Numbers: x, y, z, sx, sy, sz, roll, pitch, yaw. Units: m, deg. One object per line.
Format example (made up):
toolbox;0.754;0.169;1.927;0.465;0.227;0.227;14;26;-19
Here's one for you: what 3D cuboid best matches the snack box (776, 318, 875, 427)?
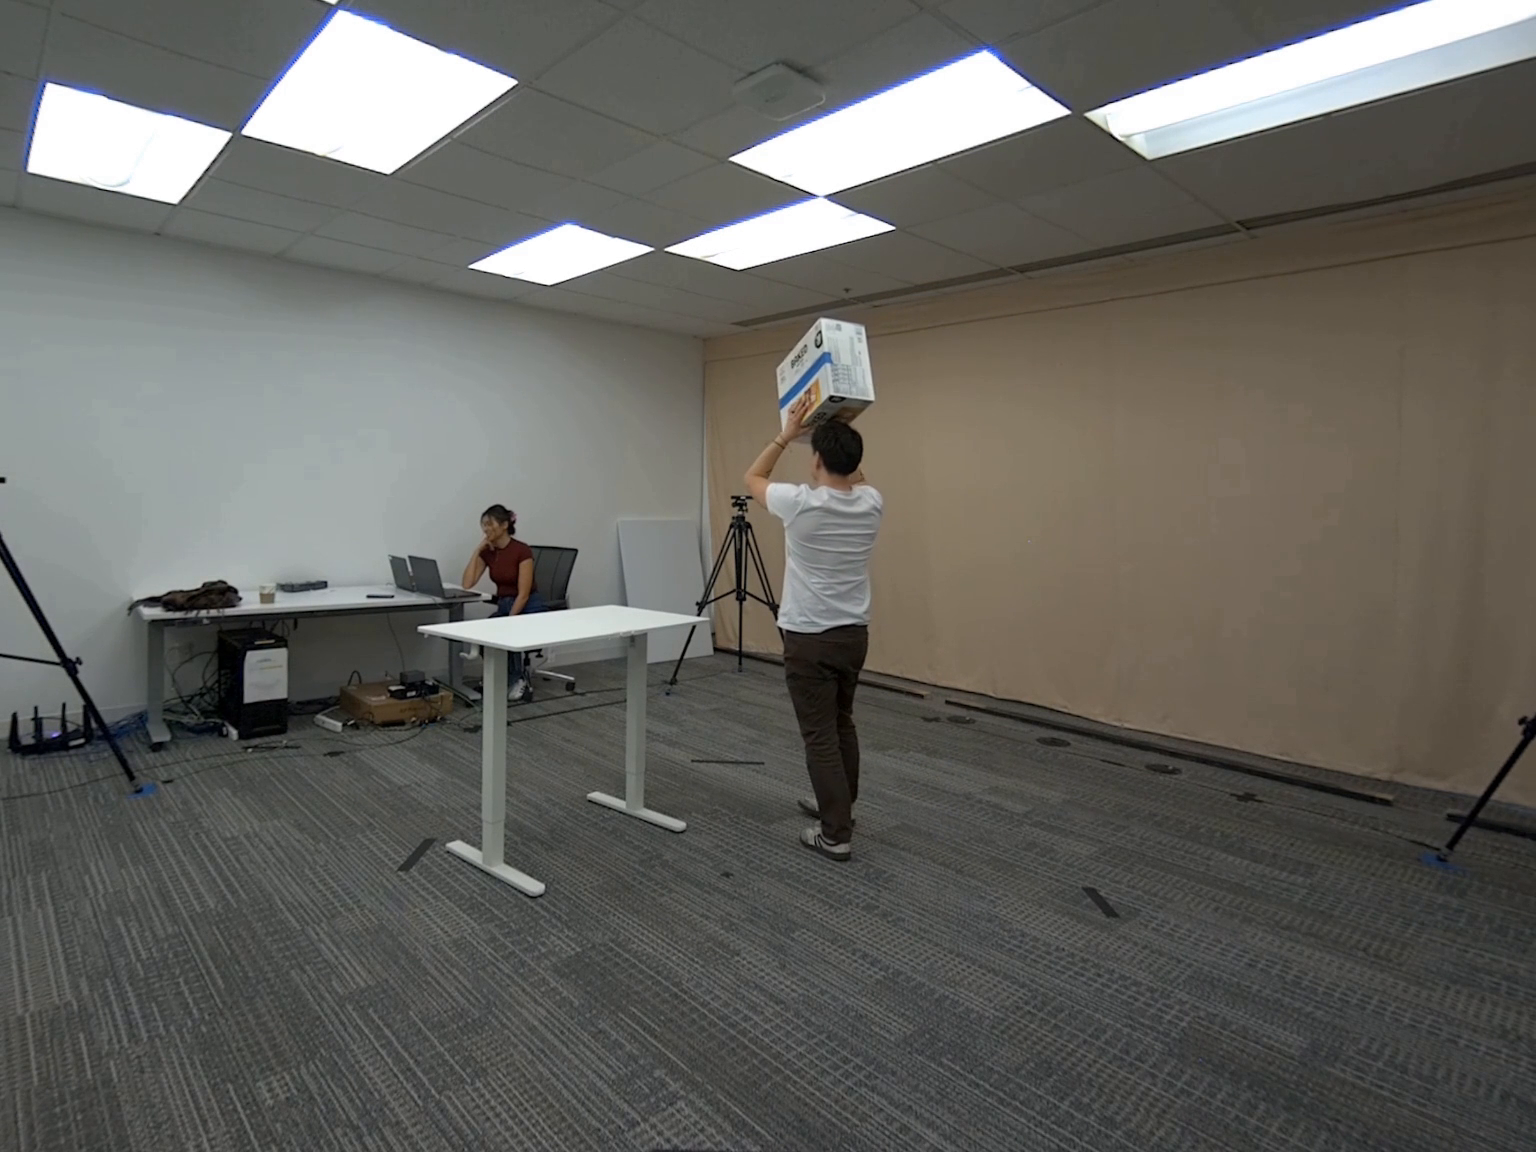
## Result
snack box;0.218;-0.774;3.413;0.202;0.345;0.407;3;-19;-24
